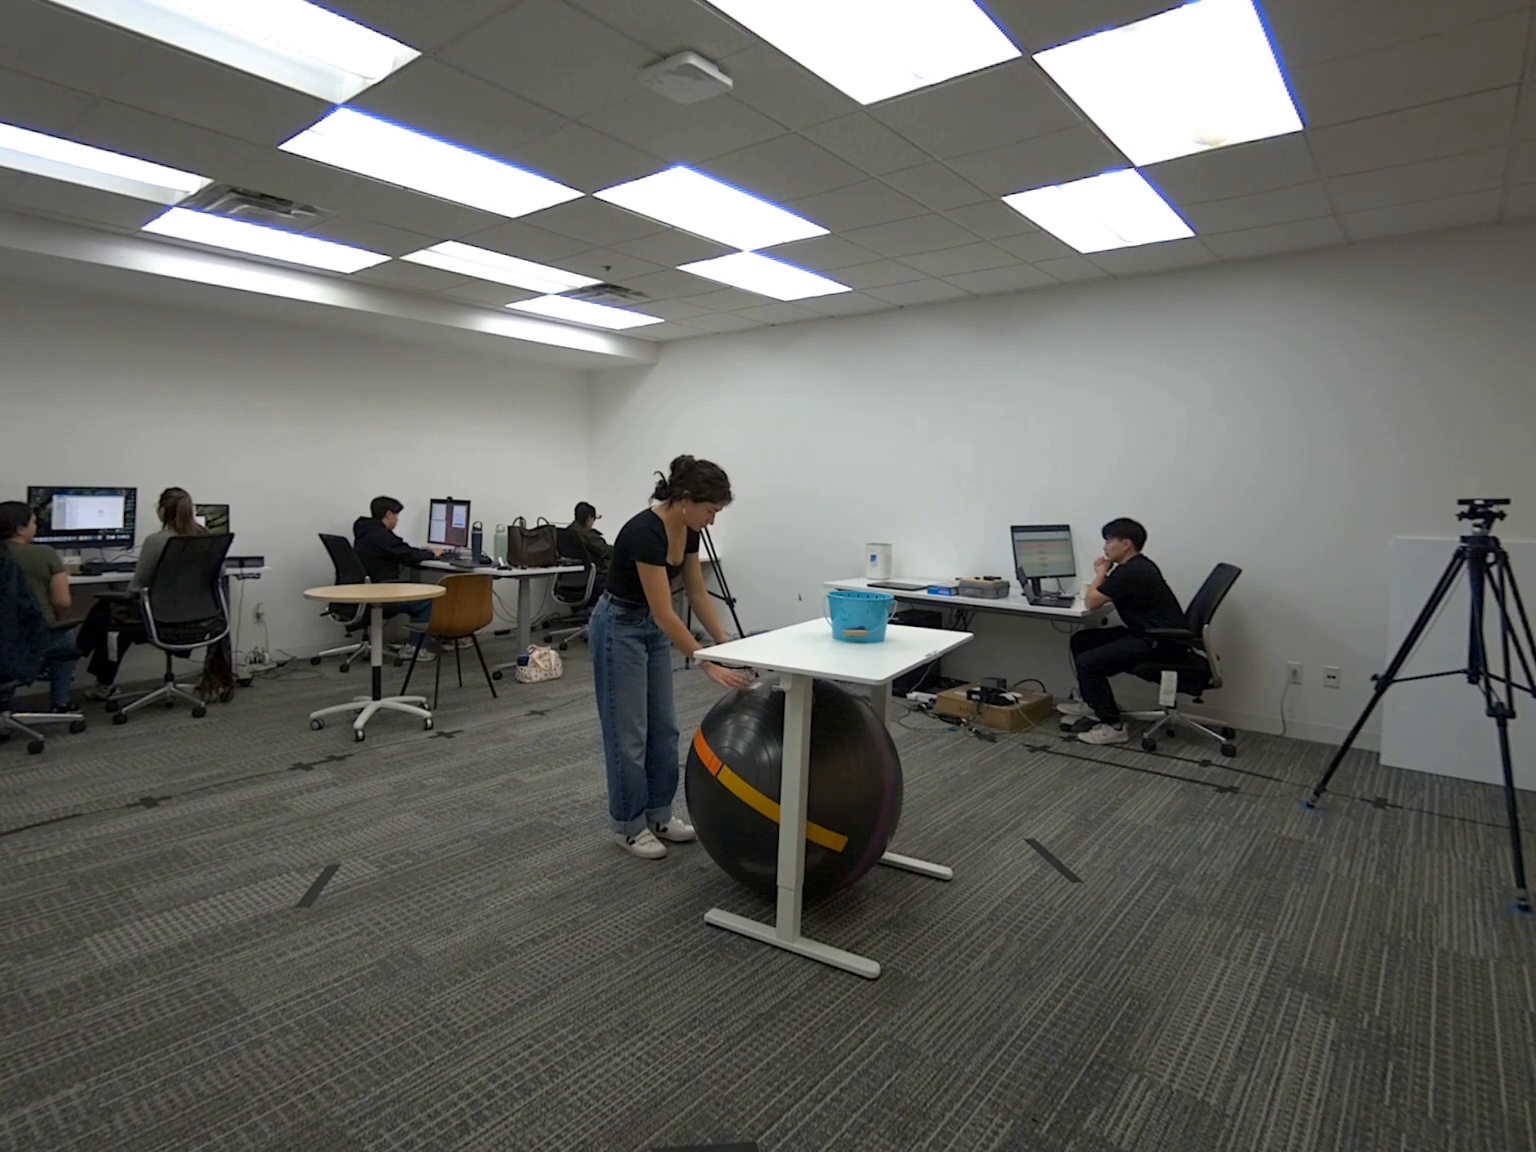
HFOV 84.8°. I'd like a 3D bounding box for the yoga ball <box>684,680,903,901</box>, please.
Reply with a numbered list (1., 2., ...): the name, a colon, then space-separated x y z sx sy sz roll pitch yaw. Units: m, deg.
1. yoga ball: 0.082 0.727 2.972 0.757 0.756 0.762 1 4 -2
